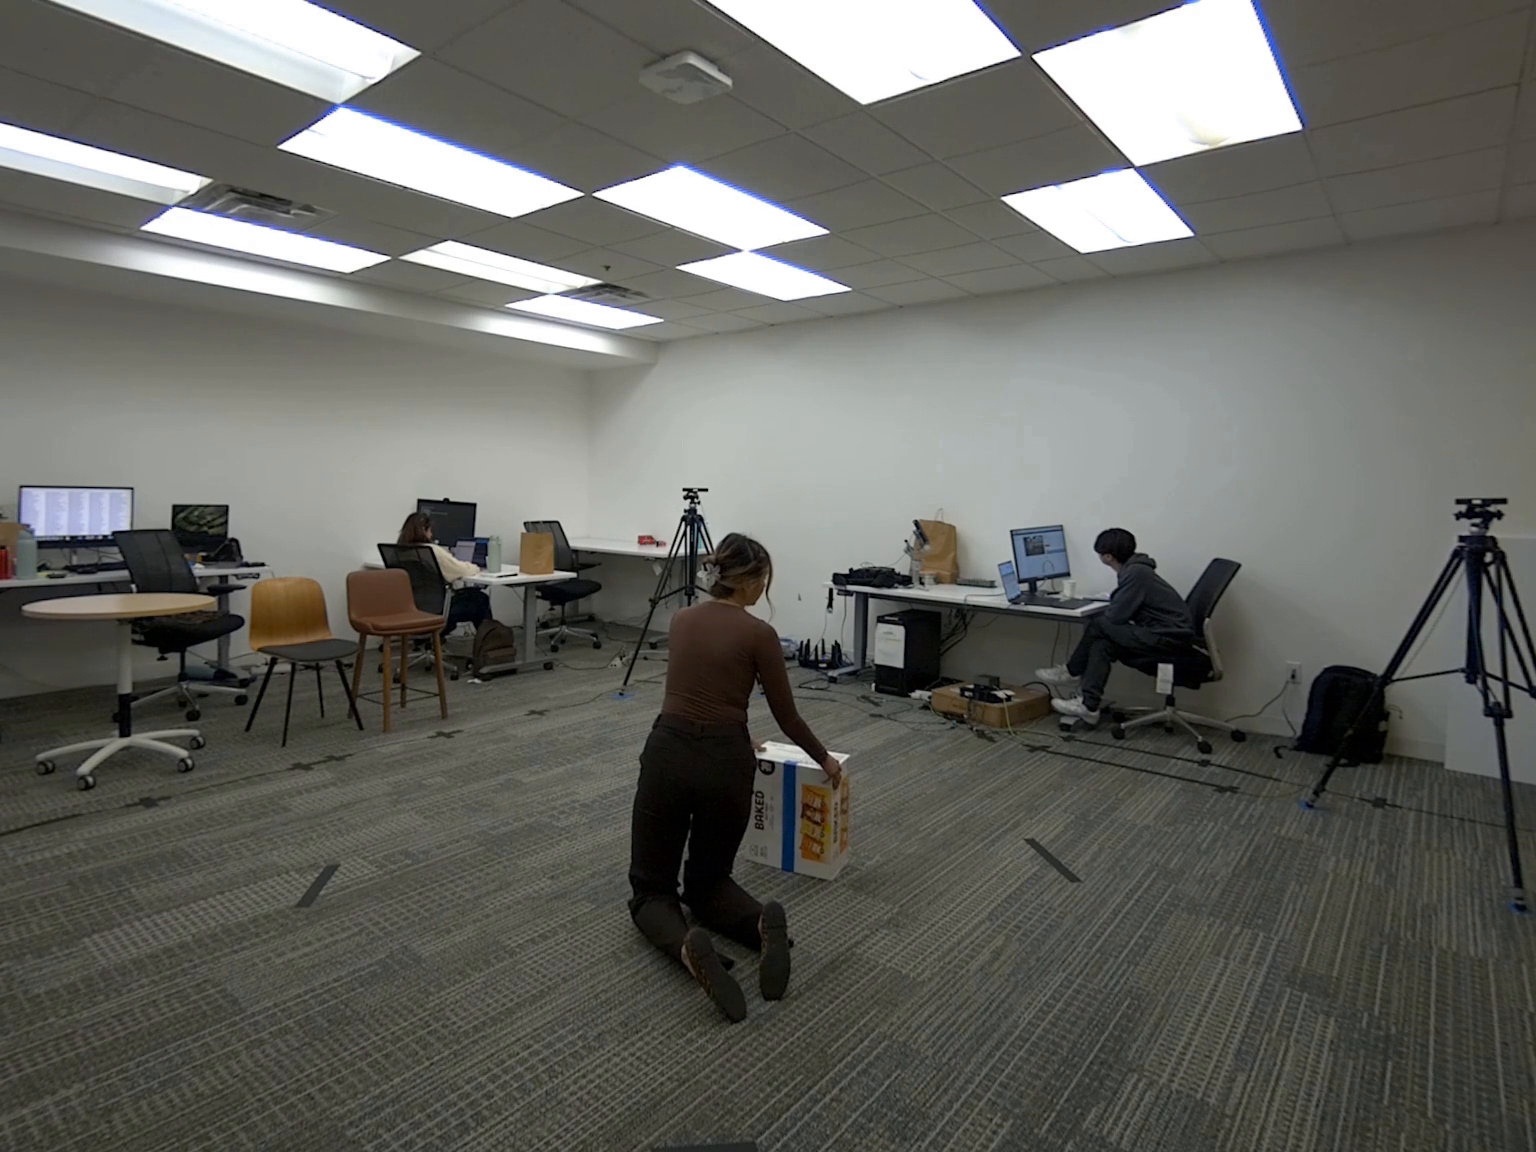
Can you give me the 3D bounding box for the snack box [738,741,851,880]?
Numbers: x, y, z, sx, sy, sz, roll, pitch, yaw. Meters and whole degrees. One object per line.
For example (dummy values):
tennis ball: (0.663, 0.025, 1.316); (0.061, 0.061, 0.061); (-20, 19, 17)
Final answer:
snack box: (0.107, 0.867, 3.188); (0.349, 0.403, 0.201); (3, 5, 26)
